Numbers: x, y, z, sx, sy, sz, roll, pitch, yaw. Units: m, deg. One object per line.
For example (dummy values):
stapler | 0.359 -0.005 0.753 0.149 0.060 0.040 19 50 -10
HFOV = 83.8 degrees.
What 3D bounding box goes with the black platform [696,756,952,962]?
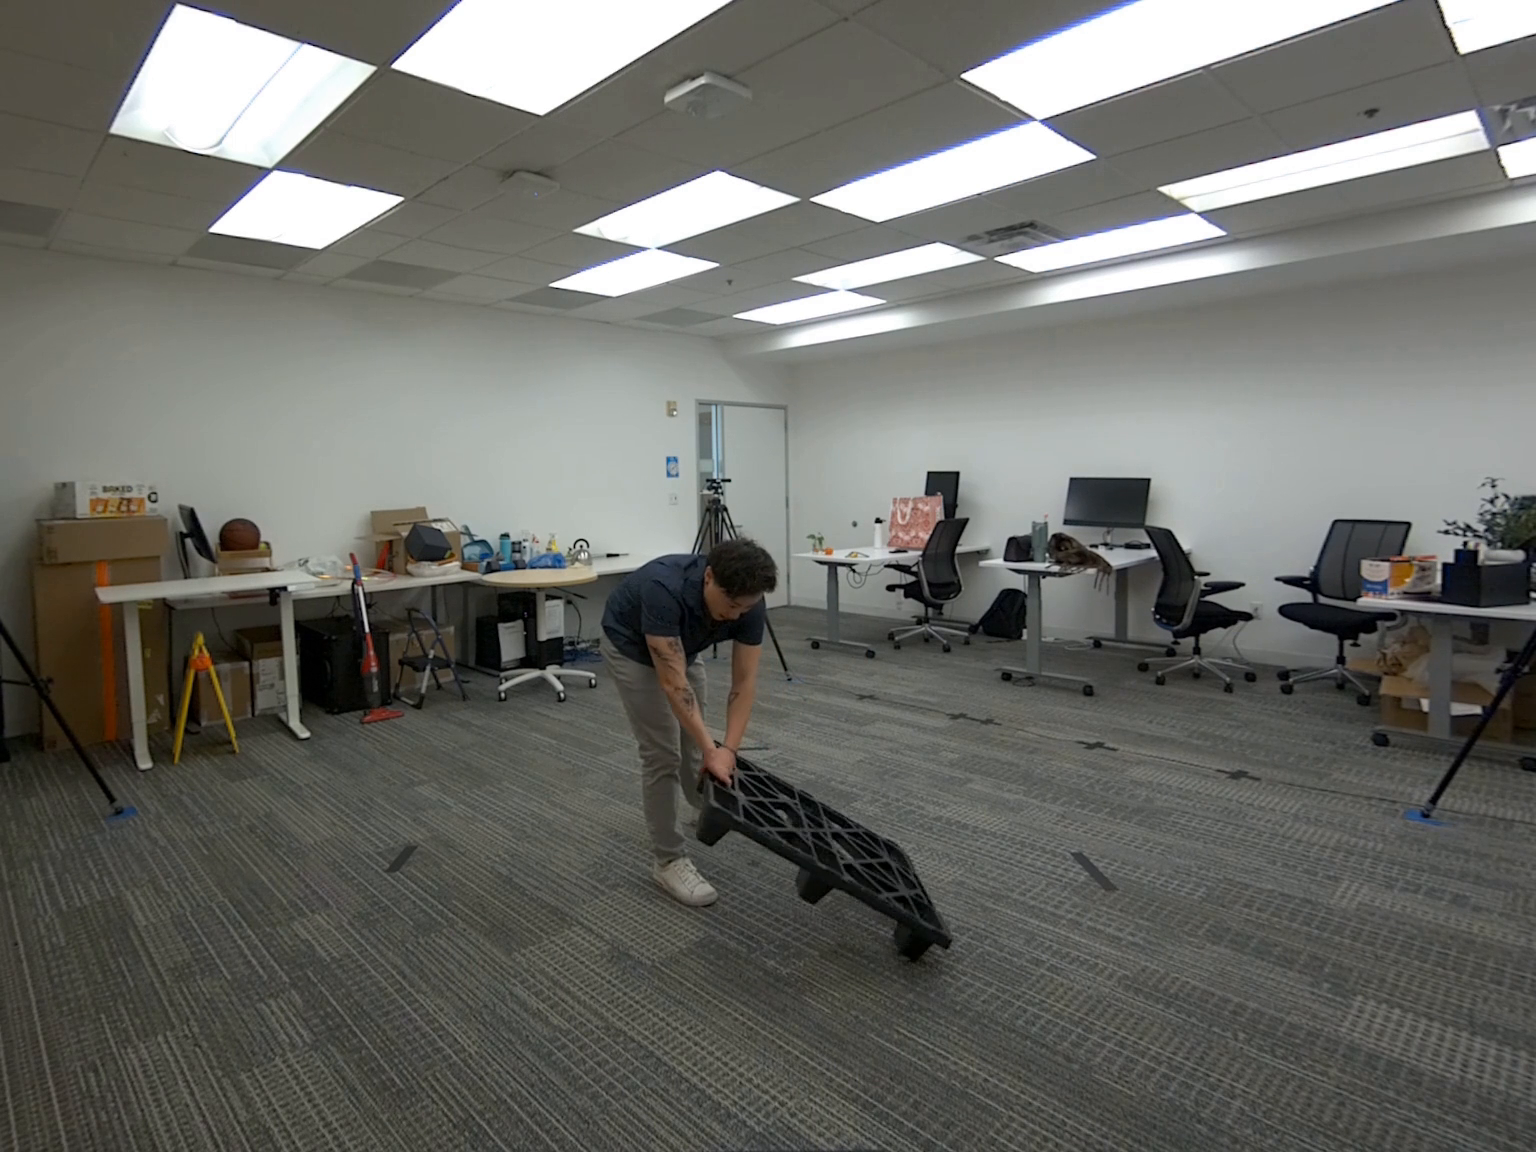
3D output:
black platform | 0.117 0.839 2.675 0.802 0.143 0.609 31 3 -5
